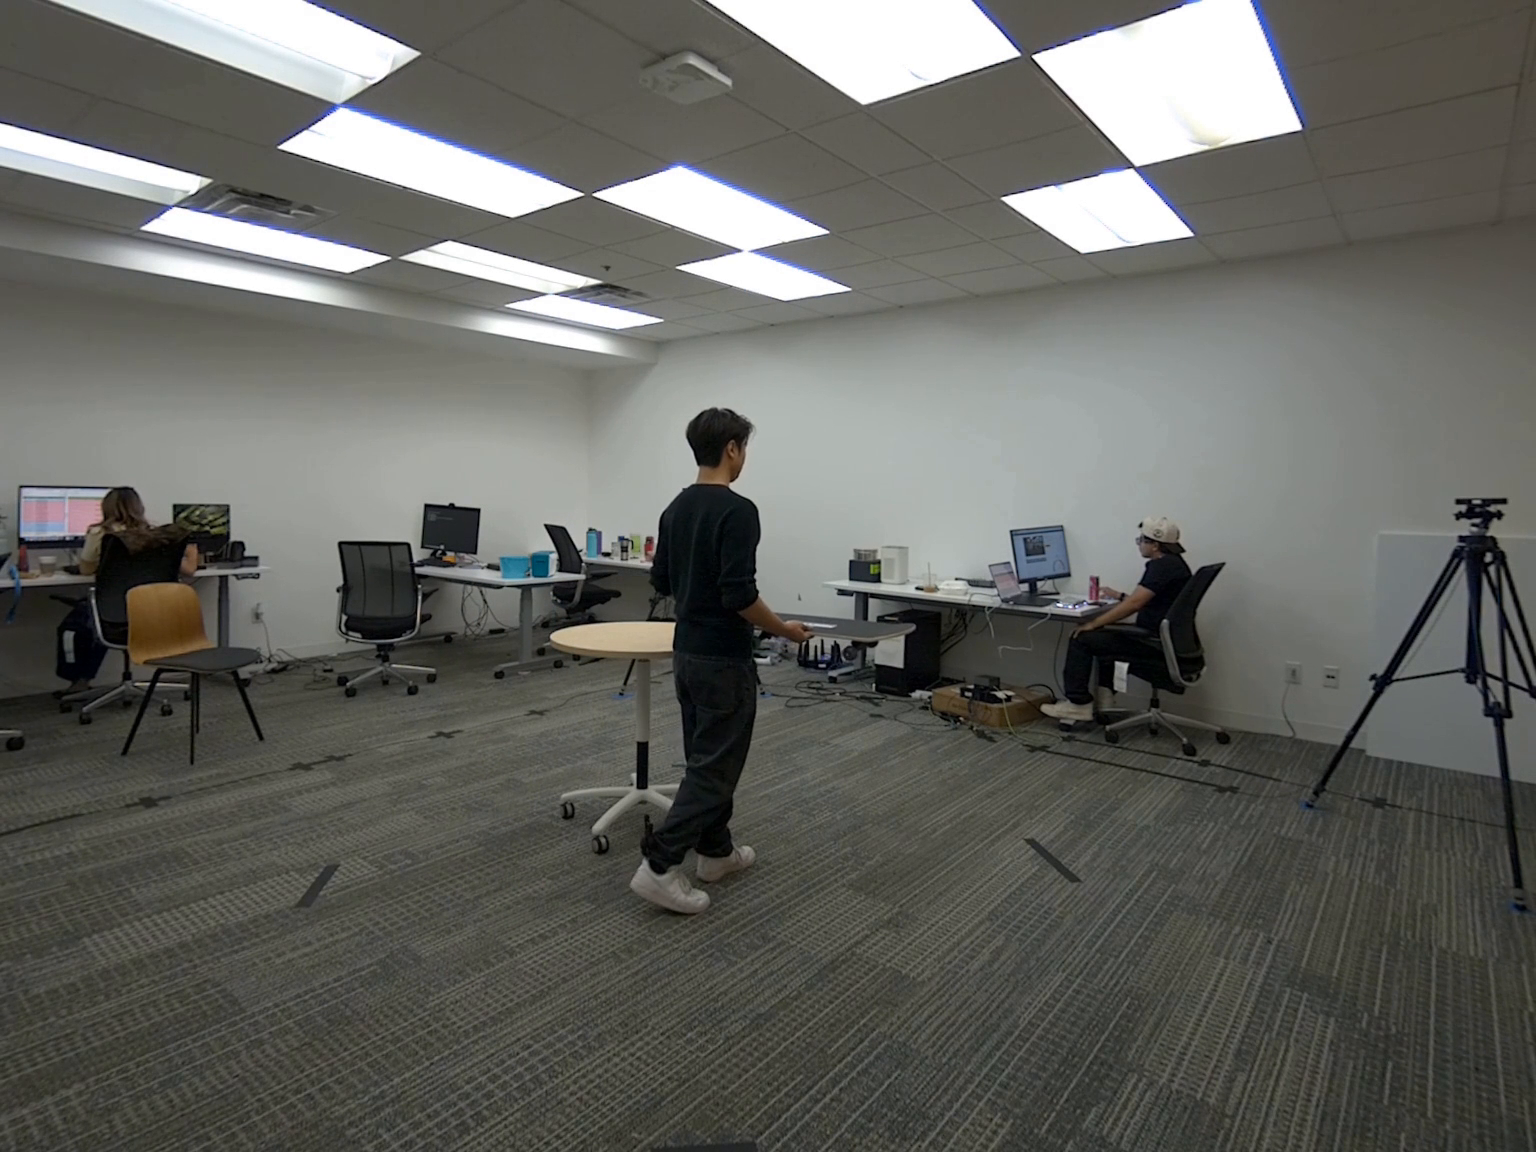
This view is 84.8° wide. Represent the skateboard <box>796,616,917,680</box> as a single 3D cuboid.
[{"bbox_3d":[0.137,0.213,3.019,0.810,0.109,0.190,3,16,35],"label":"skateboard"}]
